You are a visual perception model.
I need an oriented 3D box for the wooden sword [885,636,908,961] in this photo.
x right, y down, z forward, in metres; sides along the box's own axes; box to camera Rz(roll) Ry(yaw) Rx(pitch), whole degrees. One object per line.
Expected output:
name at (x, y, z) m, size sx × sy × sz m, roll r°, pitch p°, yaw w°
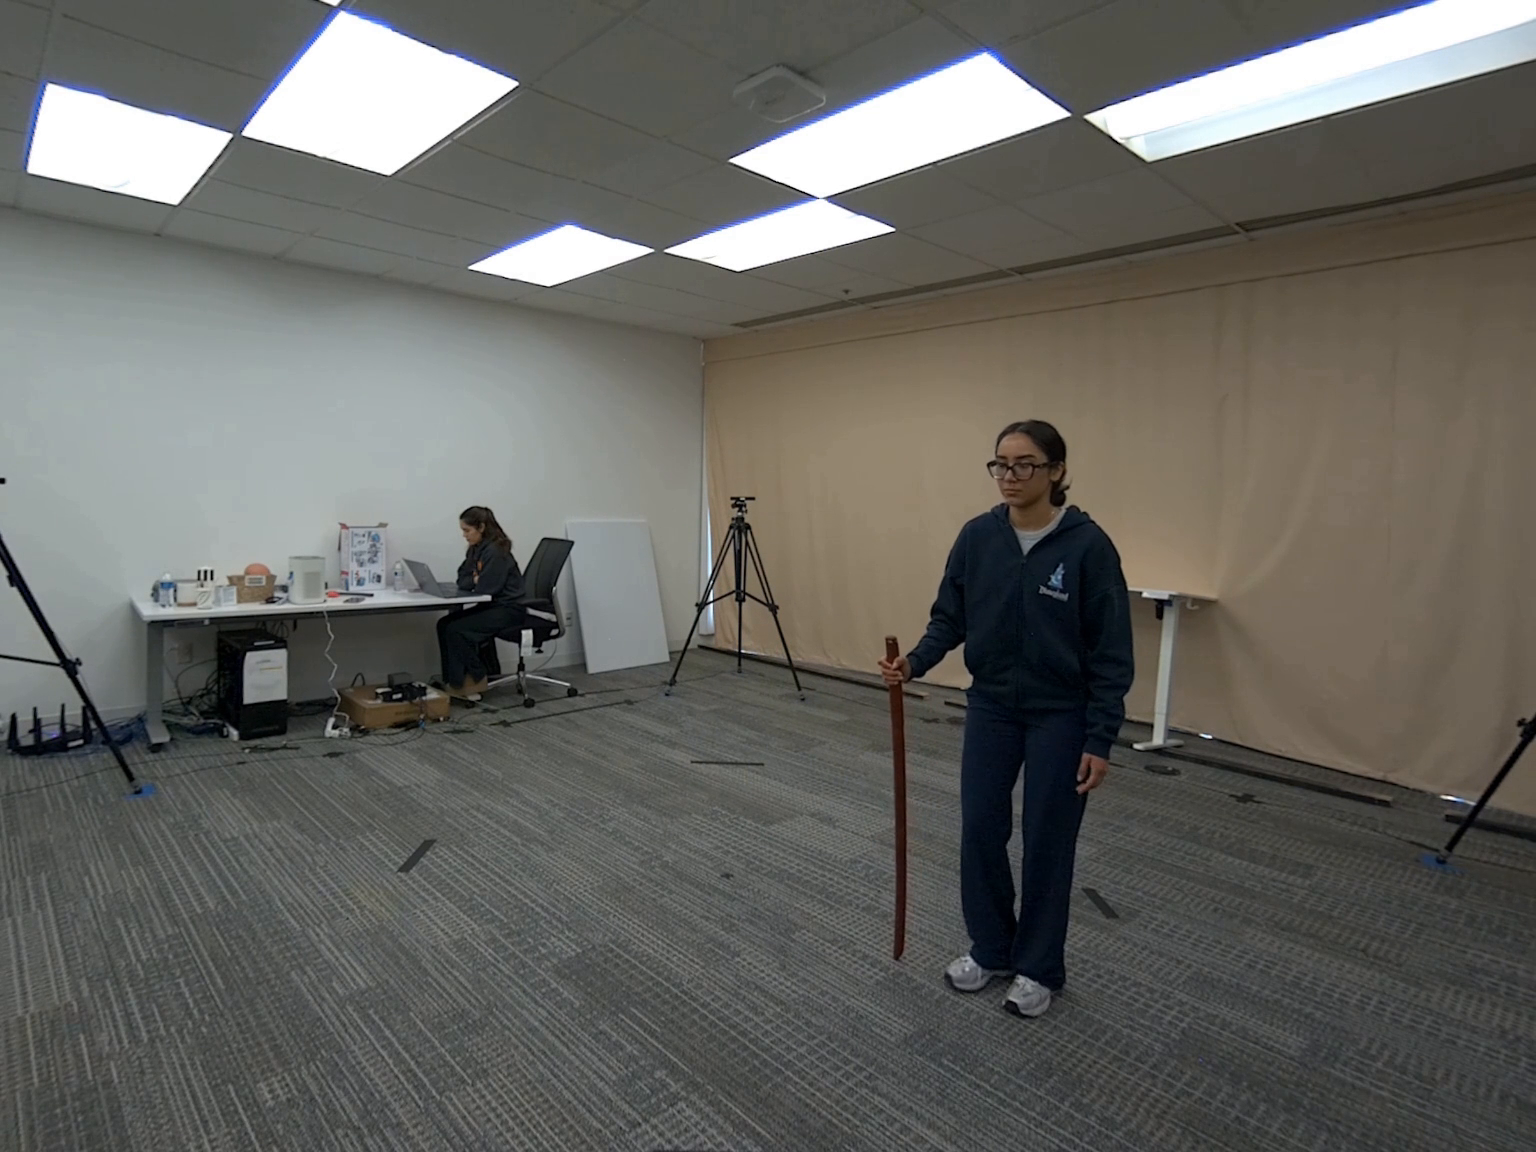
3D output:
wooden sword at (0.378, 0.685, 2.479) m, size 0.052 × 1.017 × 0.023 m, roll 7°, pitch 13°, yaw 40°
